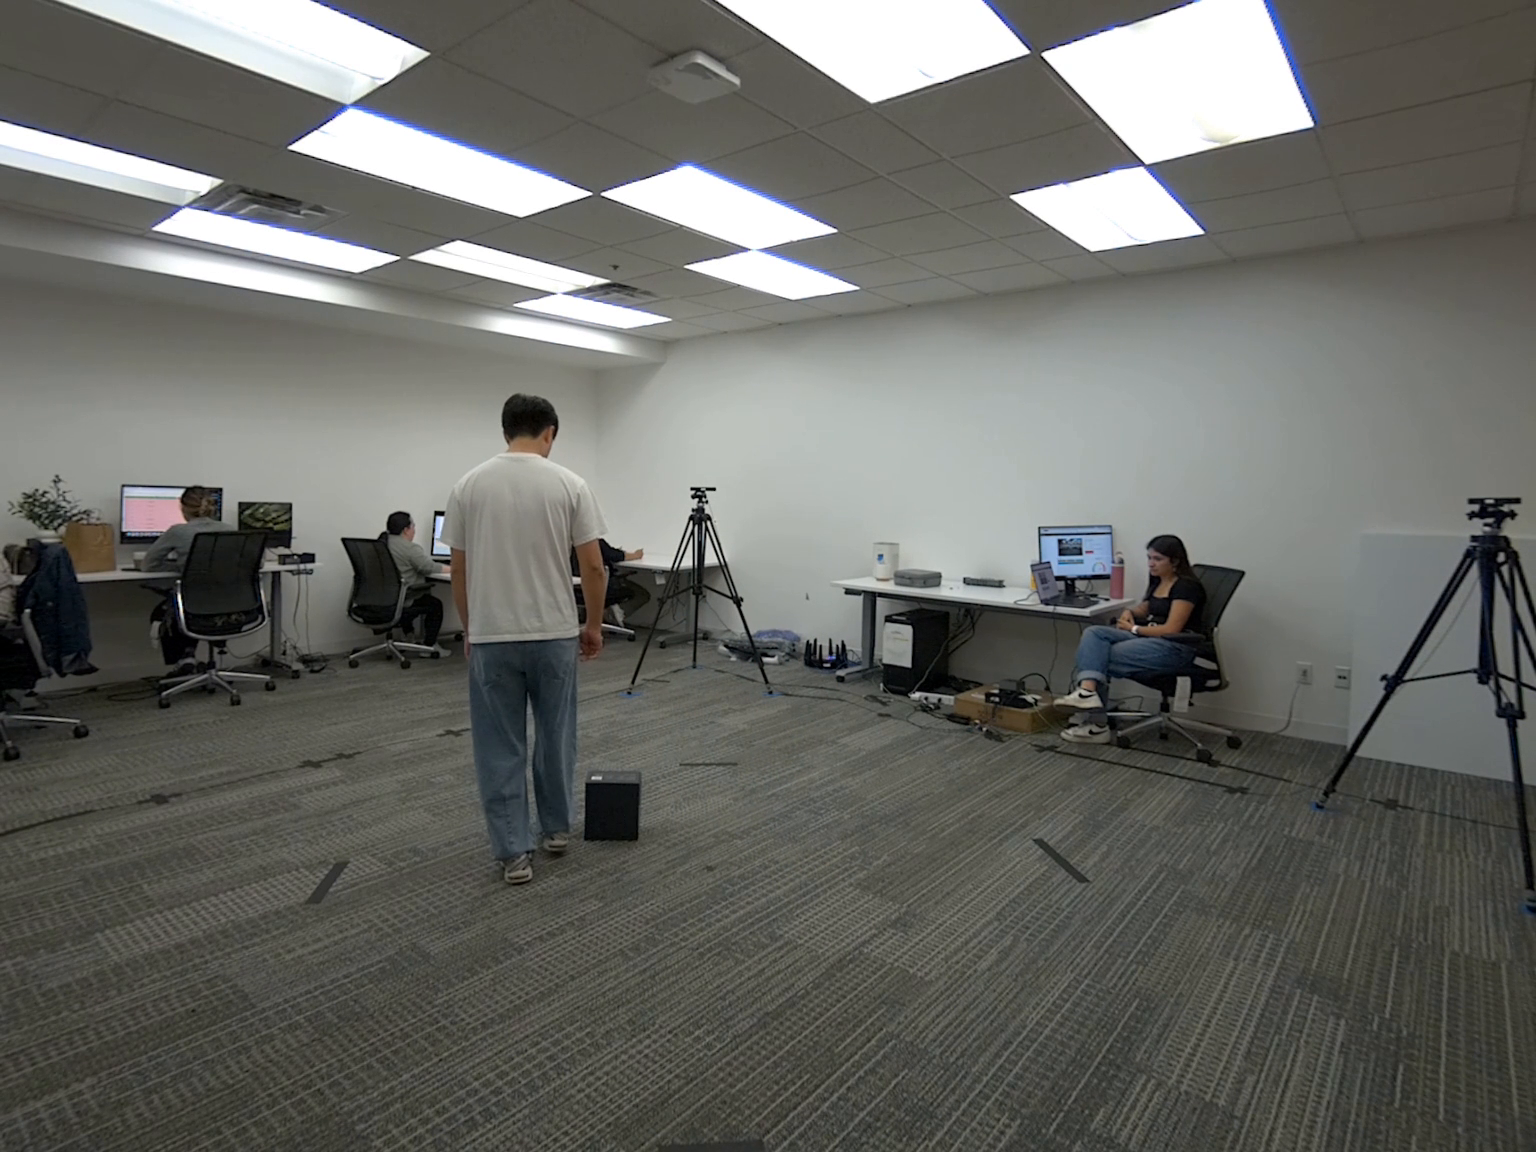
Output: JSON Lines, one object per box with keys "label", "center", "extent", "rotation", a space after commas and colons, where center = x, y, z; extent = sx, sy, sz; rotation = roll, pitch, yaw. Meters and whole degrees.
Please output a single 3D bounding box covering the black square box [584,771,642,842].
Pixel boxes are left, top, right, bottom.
{"label": "black square box", "center": [-0.632, 0.909, 3.408], "extent": [0.216, 0.227, 0.157], "rotation": [1, 3, -4]}
